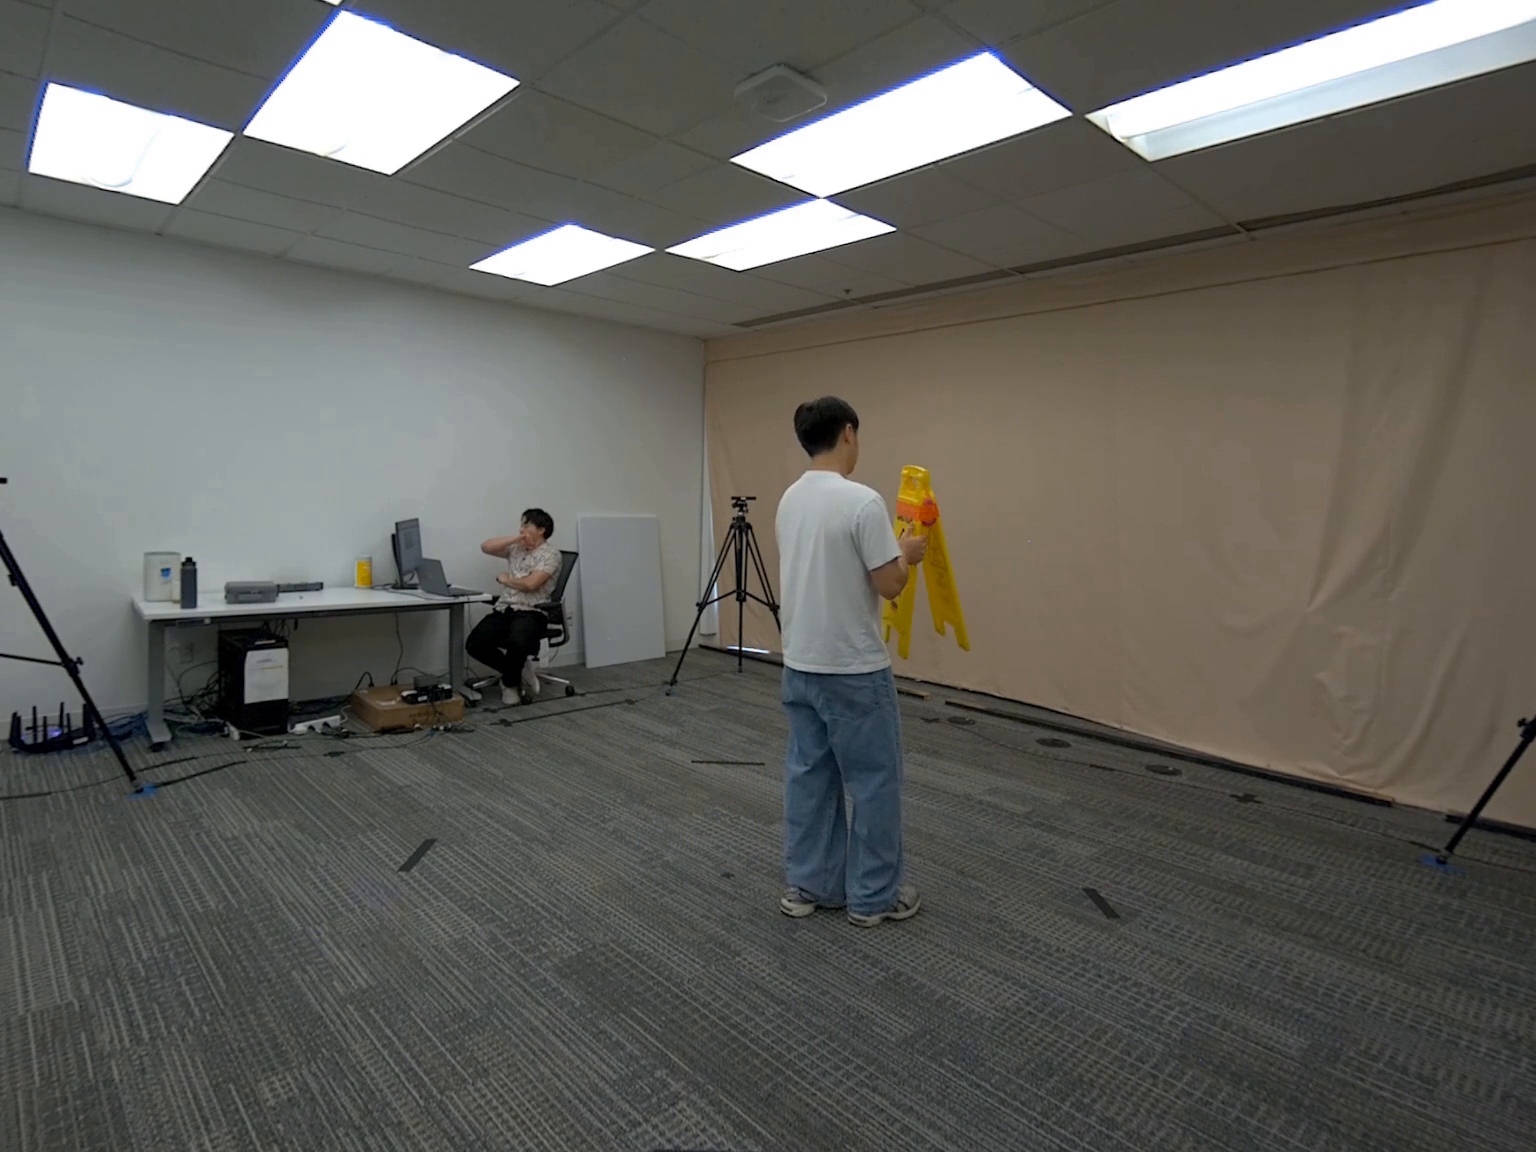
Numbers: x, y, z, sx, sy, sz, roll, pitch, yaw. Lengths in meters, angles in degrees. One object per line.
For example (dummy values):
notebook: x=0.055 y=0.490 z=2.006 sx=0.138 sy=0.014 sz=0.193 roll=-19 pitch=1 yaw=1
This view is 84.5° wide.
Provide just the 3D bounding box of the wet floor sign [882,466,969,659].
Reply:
wet floor sign: x=0.538 y=-0.067 z=3.011 sx=0.288 sy=0.641 sz=0.286 roll=-5 pitch=10 yaw=-7
